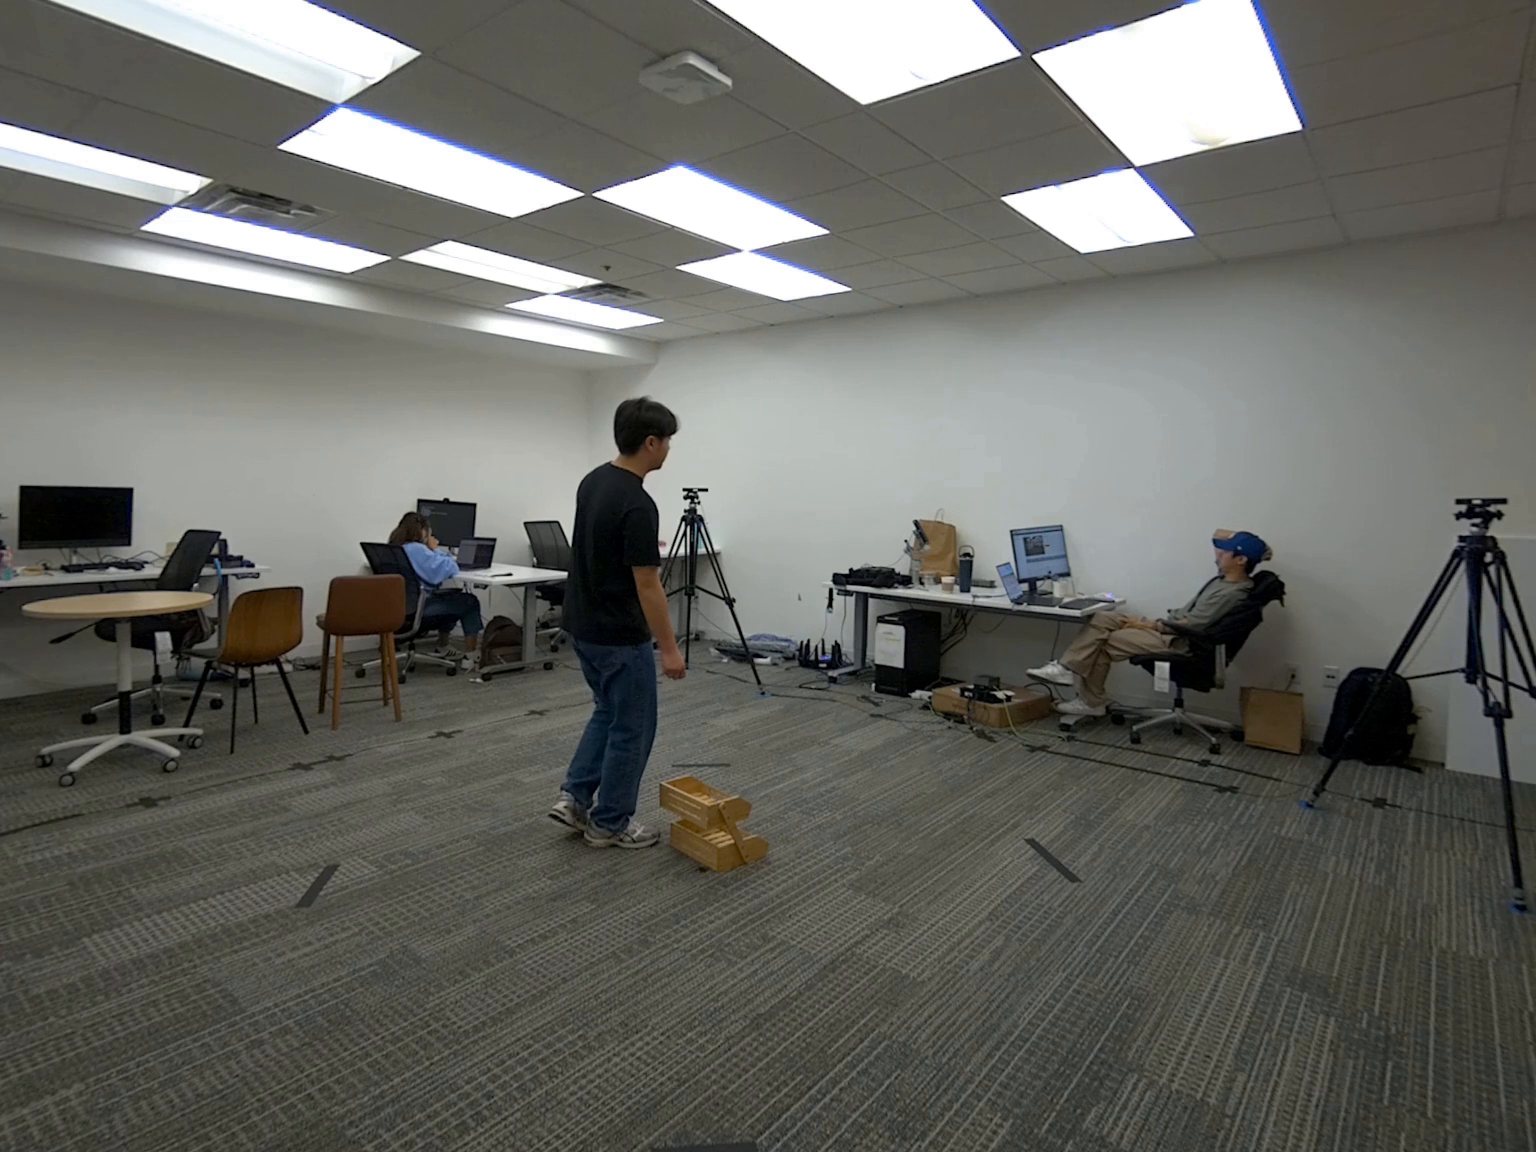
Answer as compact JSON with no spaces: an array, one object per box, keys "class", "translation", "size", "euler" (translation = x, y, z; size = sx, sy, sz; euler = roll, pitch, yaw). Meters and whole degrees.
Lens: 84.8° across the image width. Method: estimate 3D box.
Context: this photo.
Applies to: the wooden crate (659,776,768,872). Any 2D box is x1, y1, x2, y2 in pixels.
[{"class":"wooden crate","translation":[-0.214,0.922,3.255],"size":[0.293,0.272,0.335],"euler":[-3,6,-41]}]
